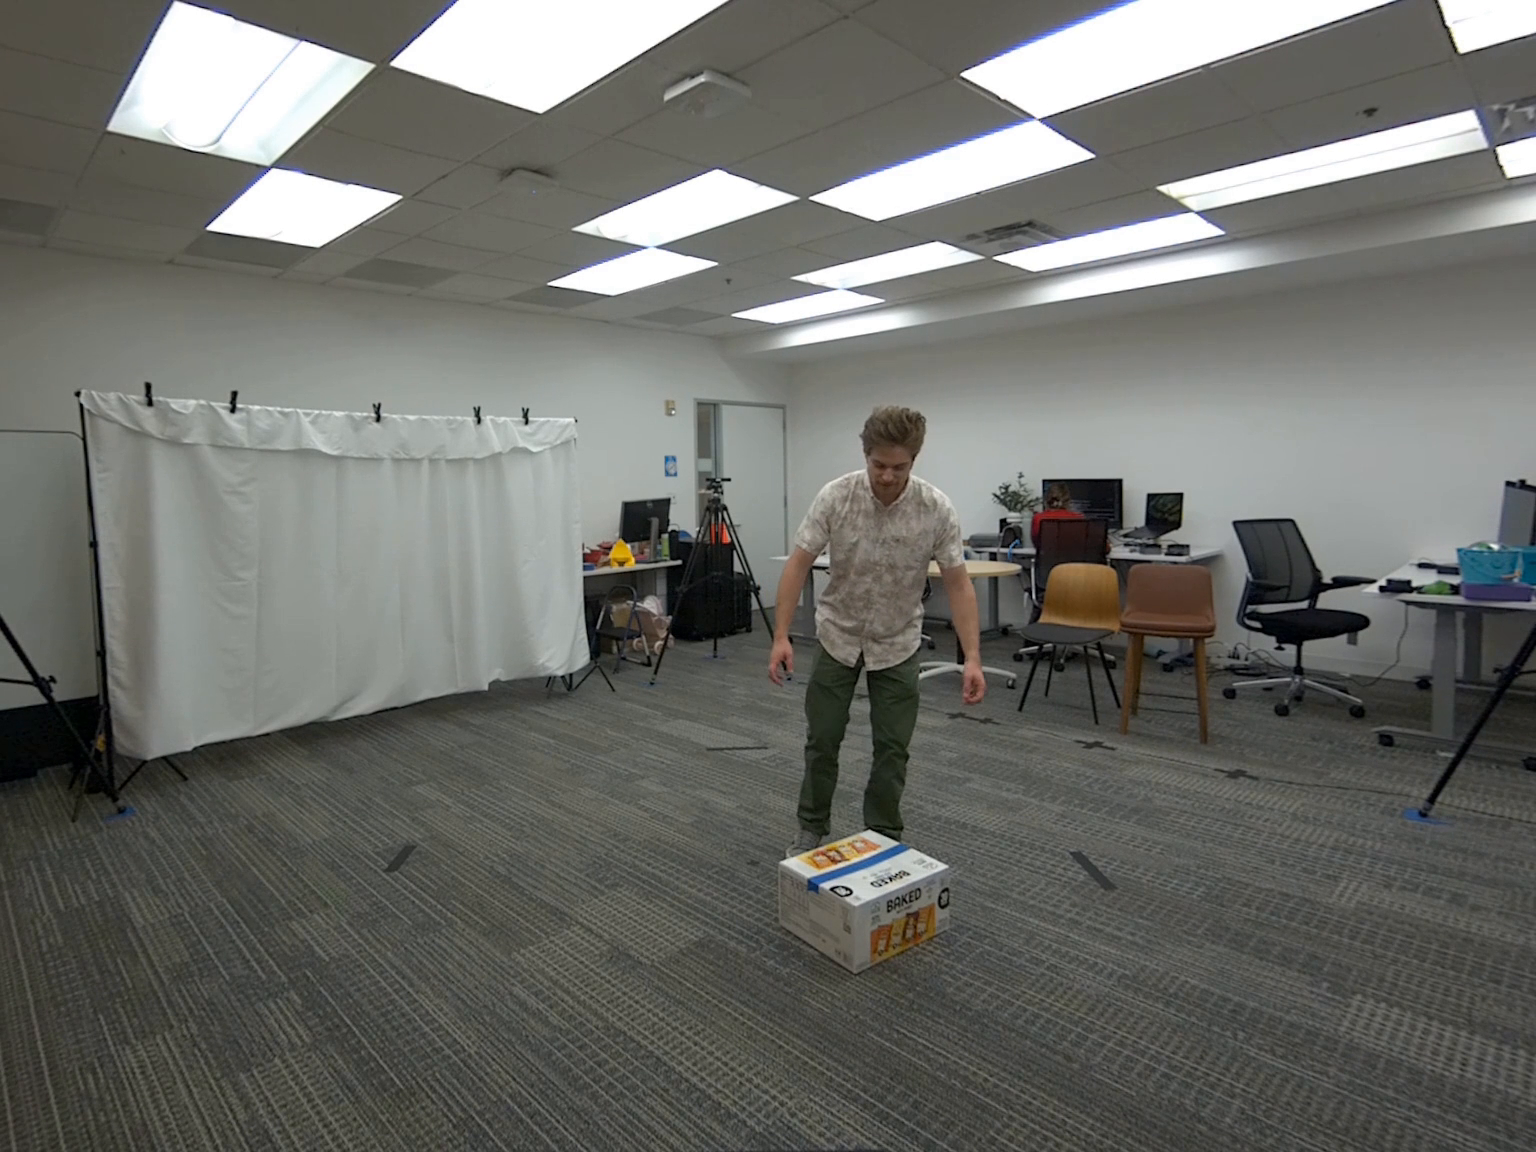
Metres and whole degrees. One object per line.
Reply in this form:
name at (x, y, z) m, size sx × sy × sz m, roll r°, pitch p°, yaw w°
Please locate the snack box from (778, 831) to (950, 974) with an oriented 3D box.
snack box at (0.300, 0.991, 2.636) m, size 0.395 × 0.205 × 0.350 m, roll -6°, pitch 7°, yaw -37°
